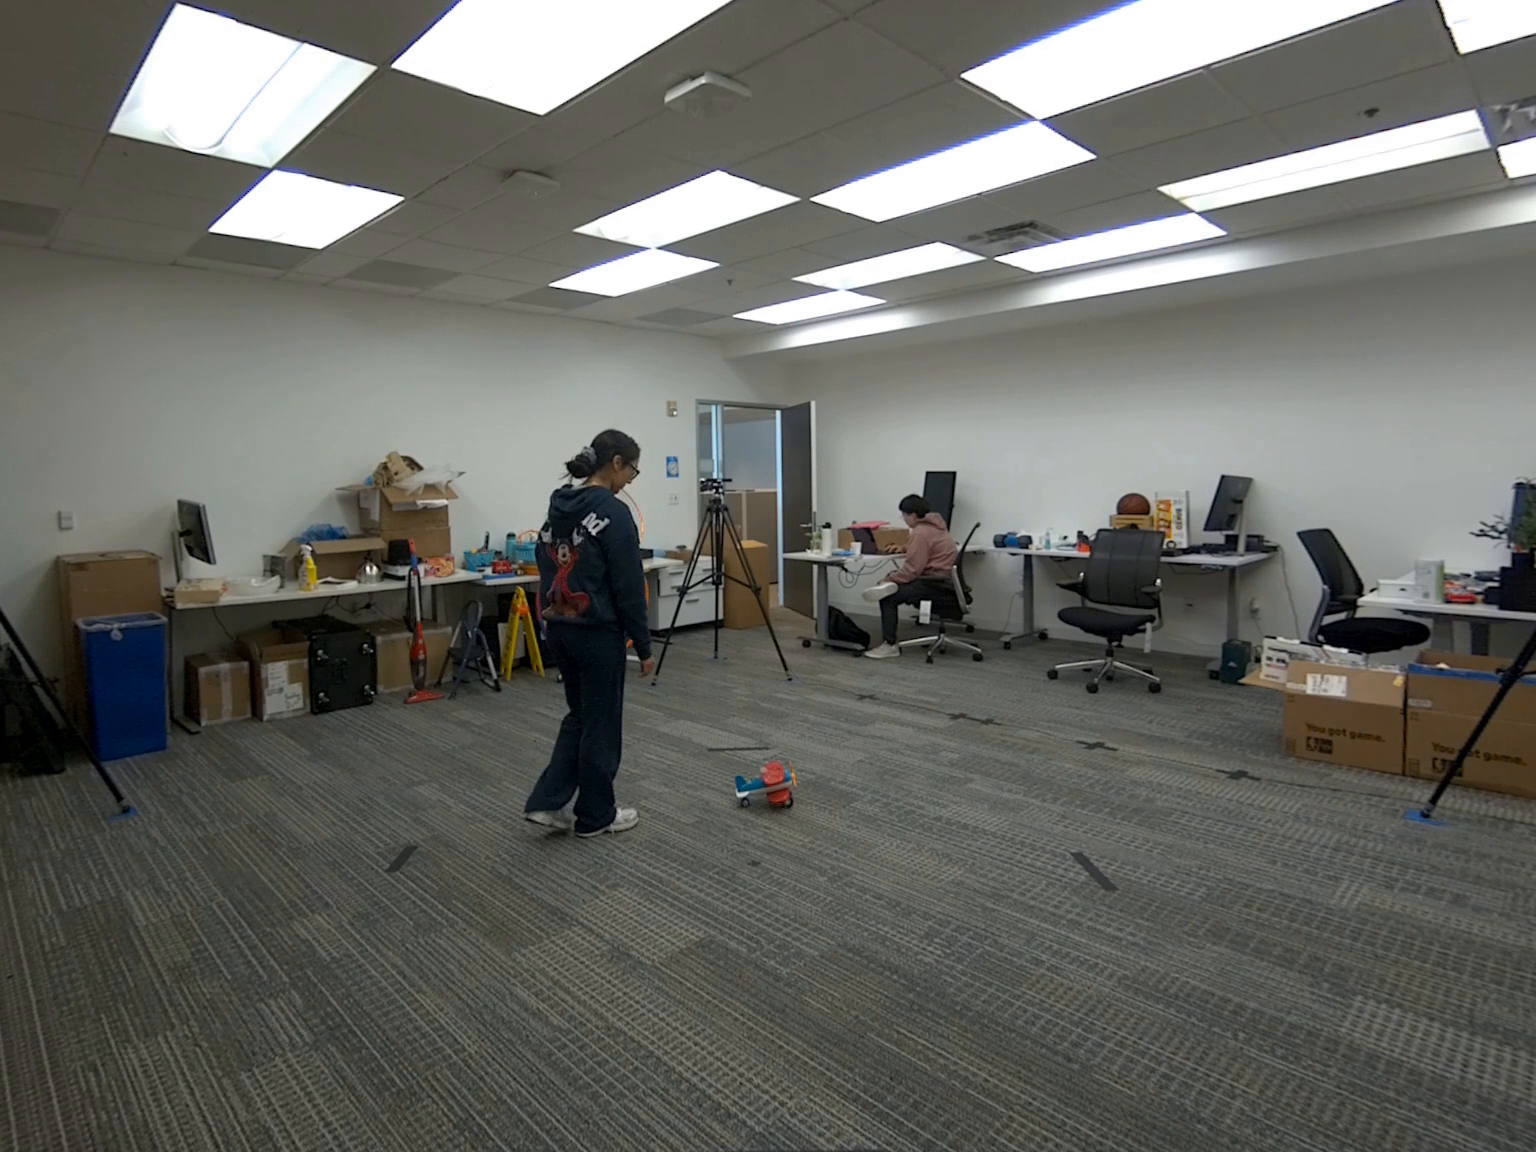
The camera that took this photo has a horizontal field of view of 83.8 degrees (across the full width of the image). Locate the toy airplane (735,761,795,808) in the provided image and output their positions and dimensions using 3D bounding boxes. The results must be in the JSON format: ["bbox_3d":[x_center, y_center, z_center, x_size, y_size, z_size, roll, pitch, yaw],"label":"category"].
[{"bbox_3d":[-0.002,0.904,3.645,0.253,0.156,0.258,-3,6,-28],"label":"toy airplane"}]
